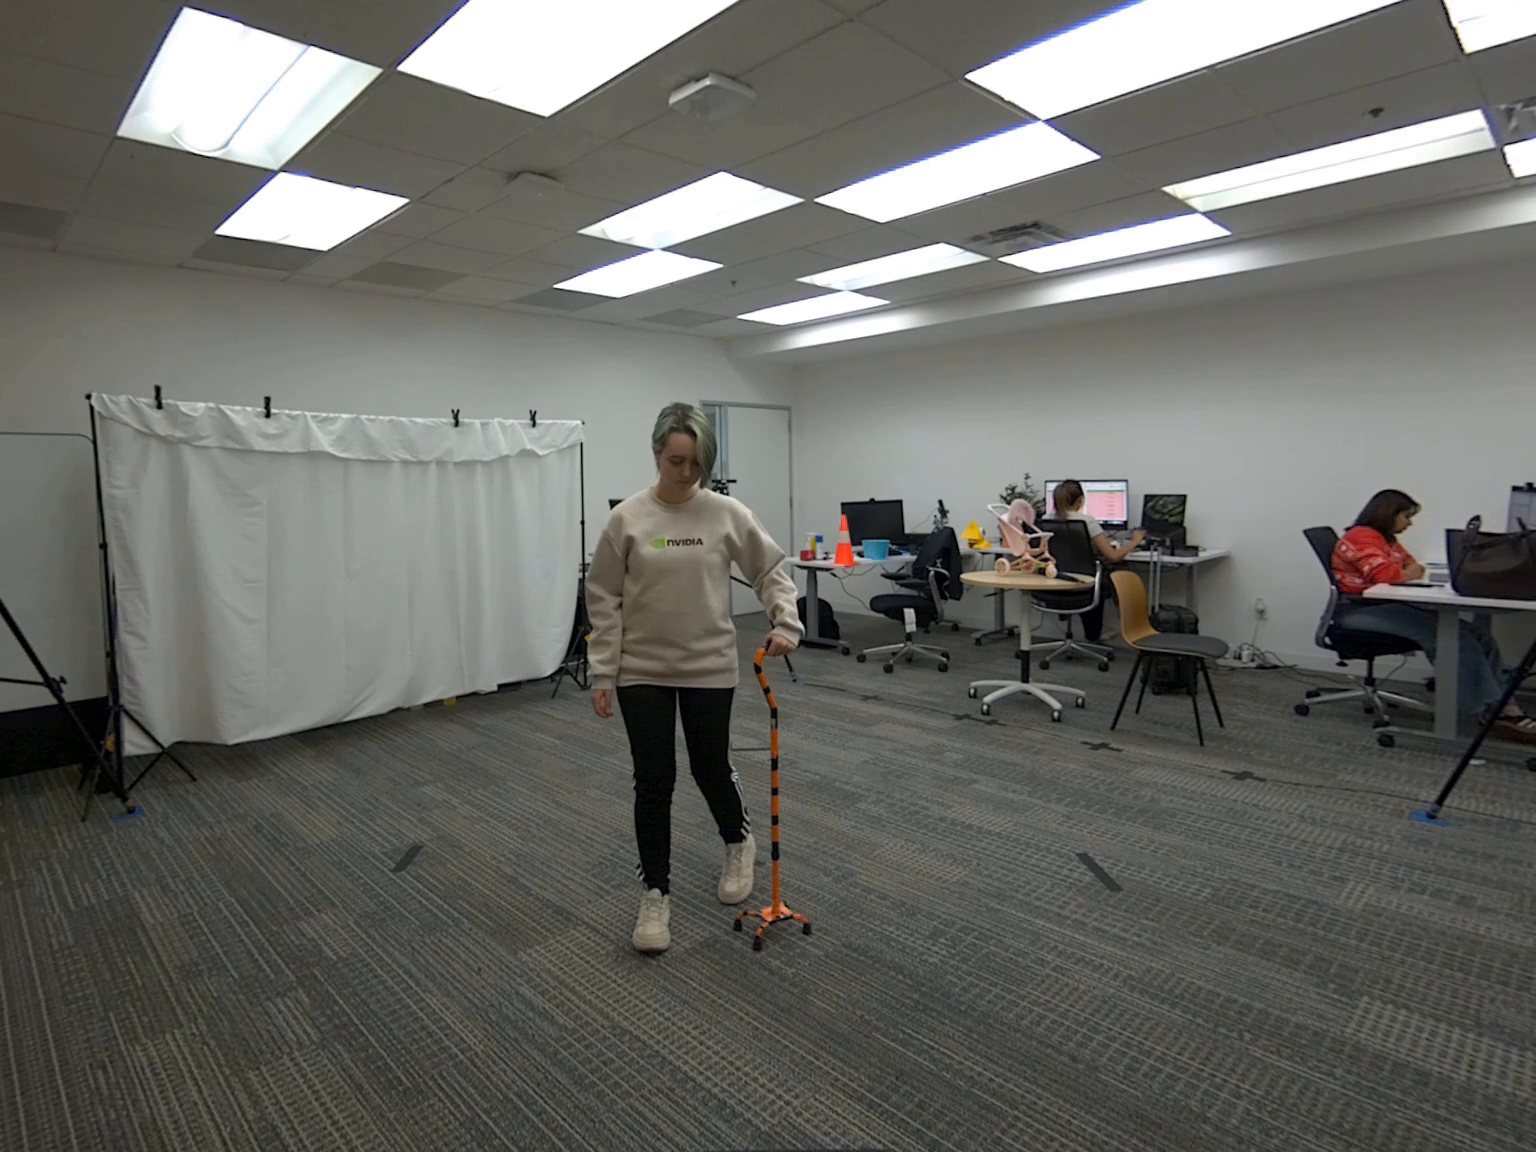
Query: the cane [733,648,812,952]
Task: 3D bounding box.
[{"bbox_3d":[0.012,0.647,2.618,0.201,0.906,0.156,-2,3,-32],"label":"cane"}]
